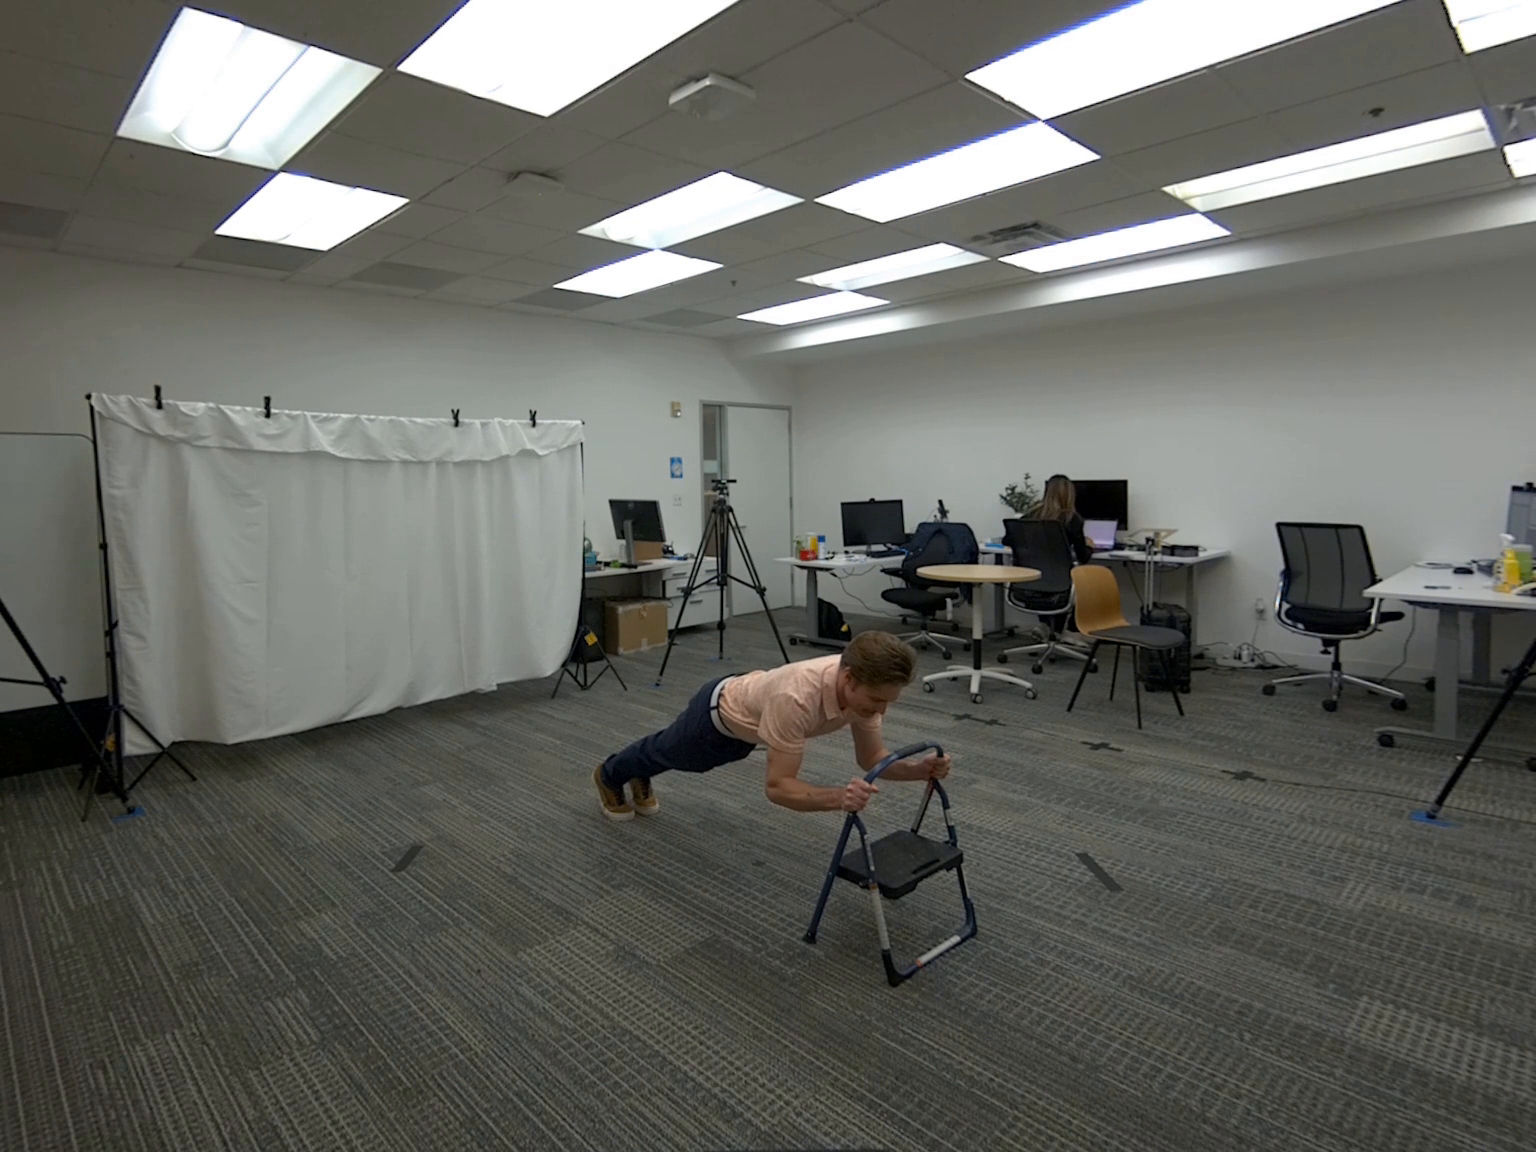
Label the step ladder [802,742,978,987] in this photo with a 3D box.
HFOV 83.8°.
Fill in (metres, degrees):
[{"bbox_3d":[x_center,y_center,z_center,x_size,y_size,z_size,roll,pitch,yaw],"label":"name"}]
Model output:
[{"bbox_3d":[0.375,0.800,2.579,0.419,0.604,0.360,-5,6,-43],"label":"step ladder"}]
